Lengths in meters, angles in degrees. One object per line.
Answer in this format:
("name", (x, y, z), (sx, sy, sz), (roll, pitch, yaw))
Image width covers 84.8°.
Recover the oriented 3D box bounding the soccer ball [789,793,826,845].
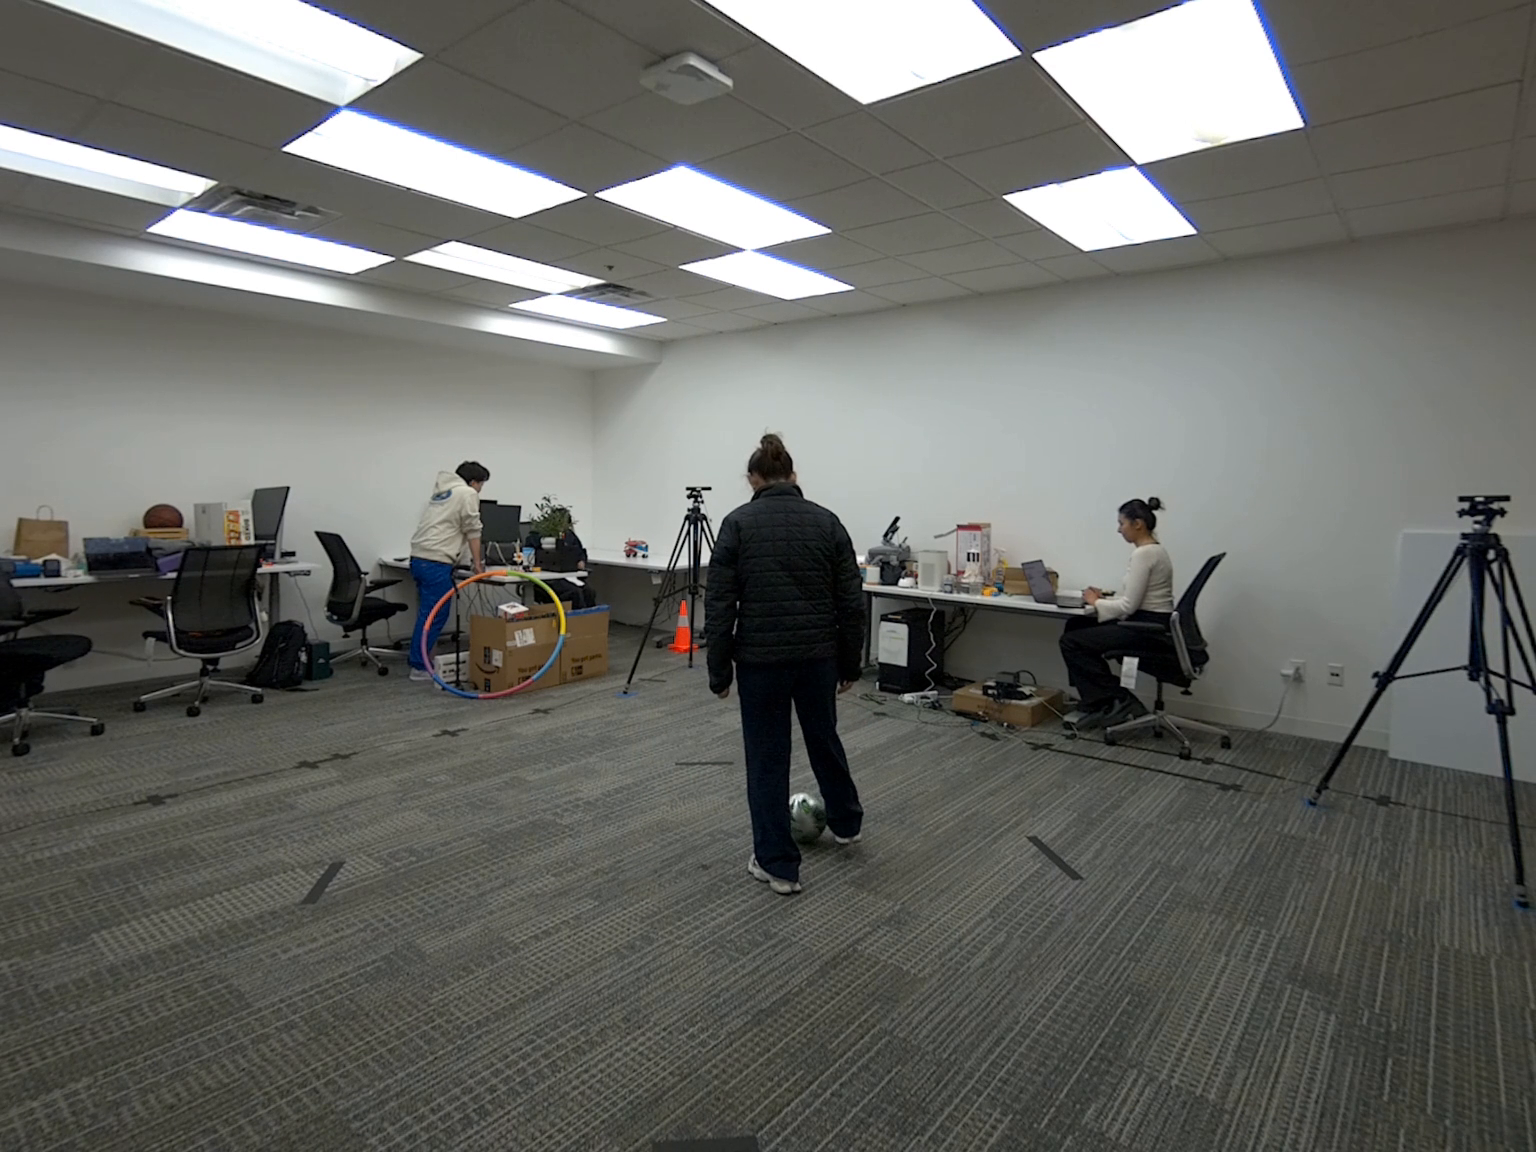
("soccer ball", (0.125, 0.947, 3.369), (0.187, 0.187, 0.188), (1, 4, -2))
